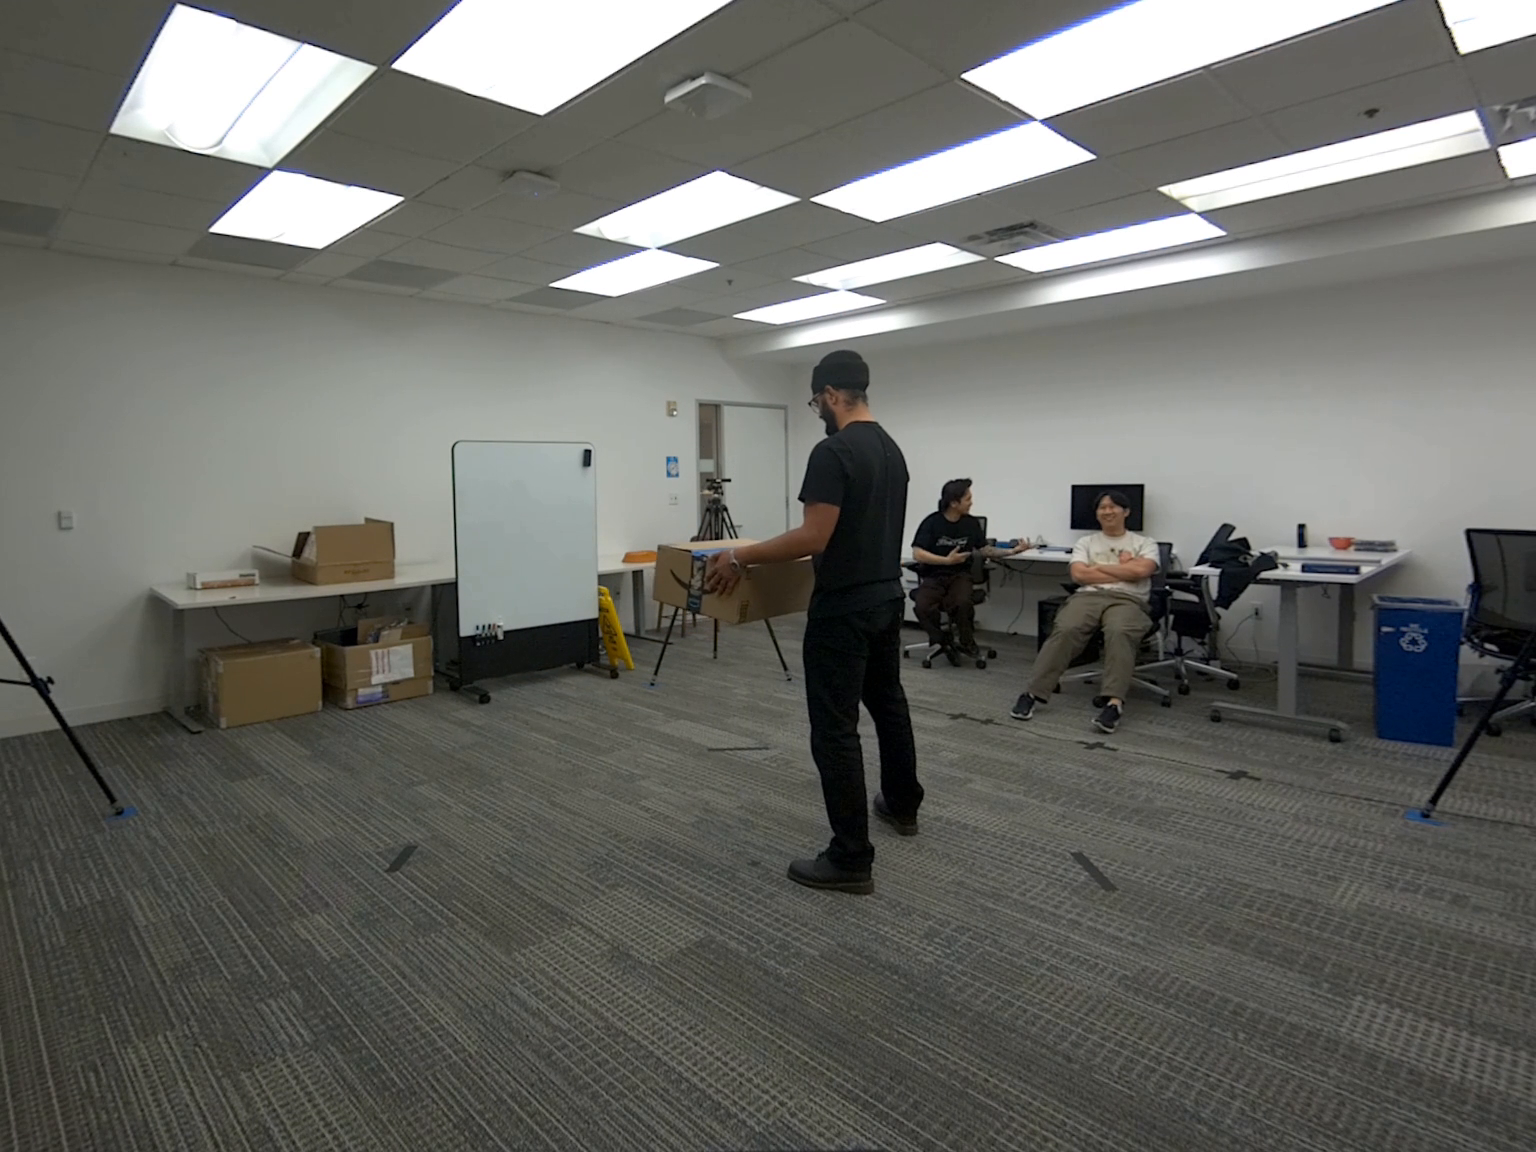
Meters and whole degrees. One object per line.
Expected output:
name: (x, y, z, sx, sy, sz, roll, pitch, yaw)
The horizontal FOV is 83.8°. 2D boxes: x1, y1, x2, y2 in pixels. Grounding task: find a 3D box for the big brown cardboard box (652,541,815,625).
big brown cardboard box: (-0.095, 0.001, 3.337, 0.431, 0.231, 0.574, 13, 11, 36)
